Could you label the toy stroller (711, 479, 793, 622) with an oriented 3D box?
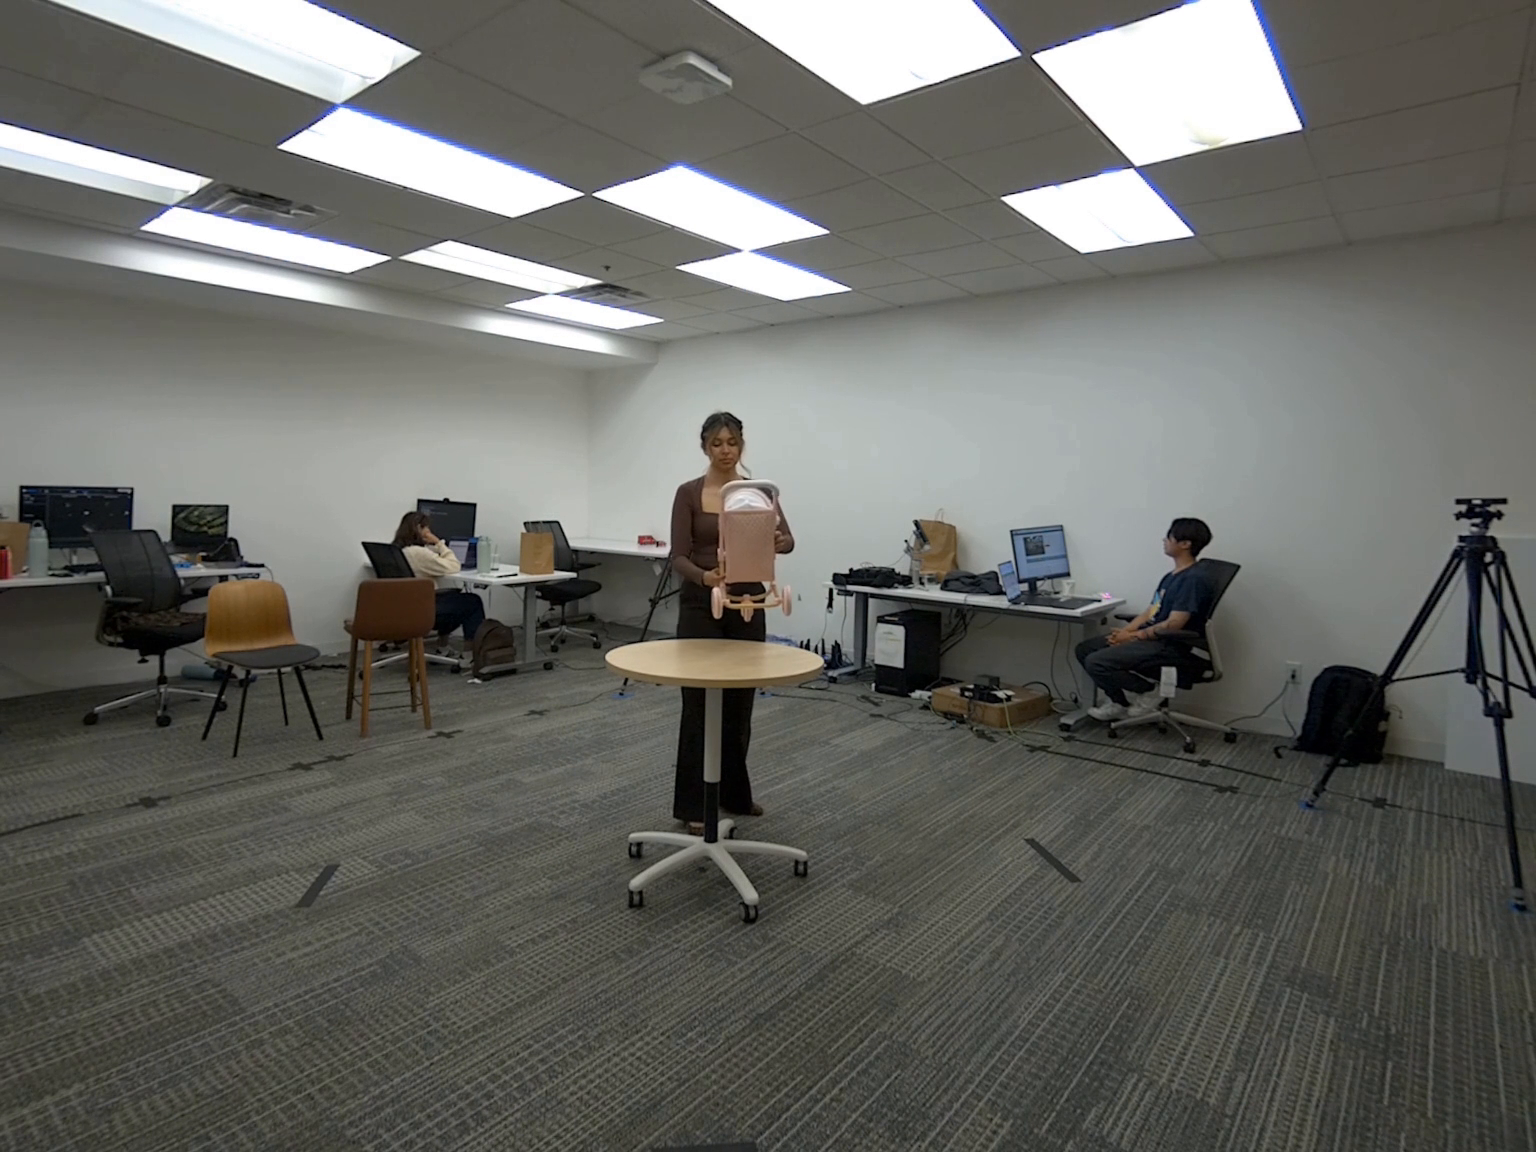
[{"bbox_3d":[-0.080,-0.082,3.091,0.282,0.533,0.342,-3,4,0],"label":"toy stroller"}]
